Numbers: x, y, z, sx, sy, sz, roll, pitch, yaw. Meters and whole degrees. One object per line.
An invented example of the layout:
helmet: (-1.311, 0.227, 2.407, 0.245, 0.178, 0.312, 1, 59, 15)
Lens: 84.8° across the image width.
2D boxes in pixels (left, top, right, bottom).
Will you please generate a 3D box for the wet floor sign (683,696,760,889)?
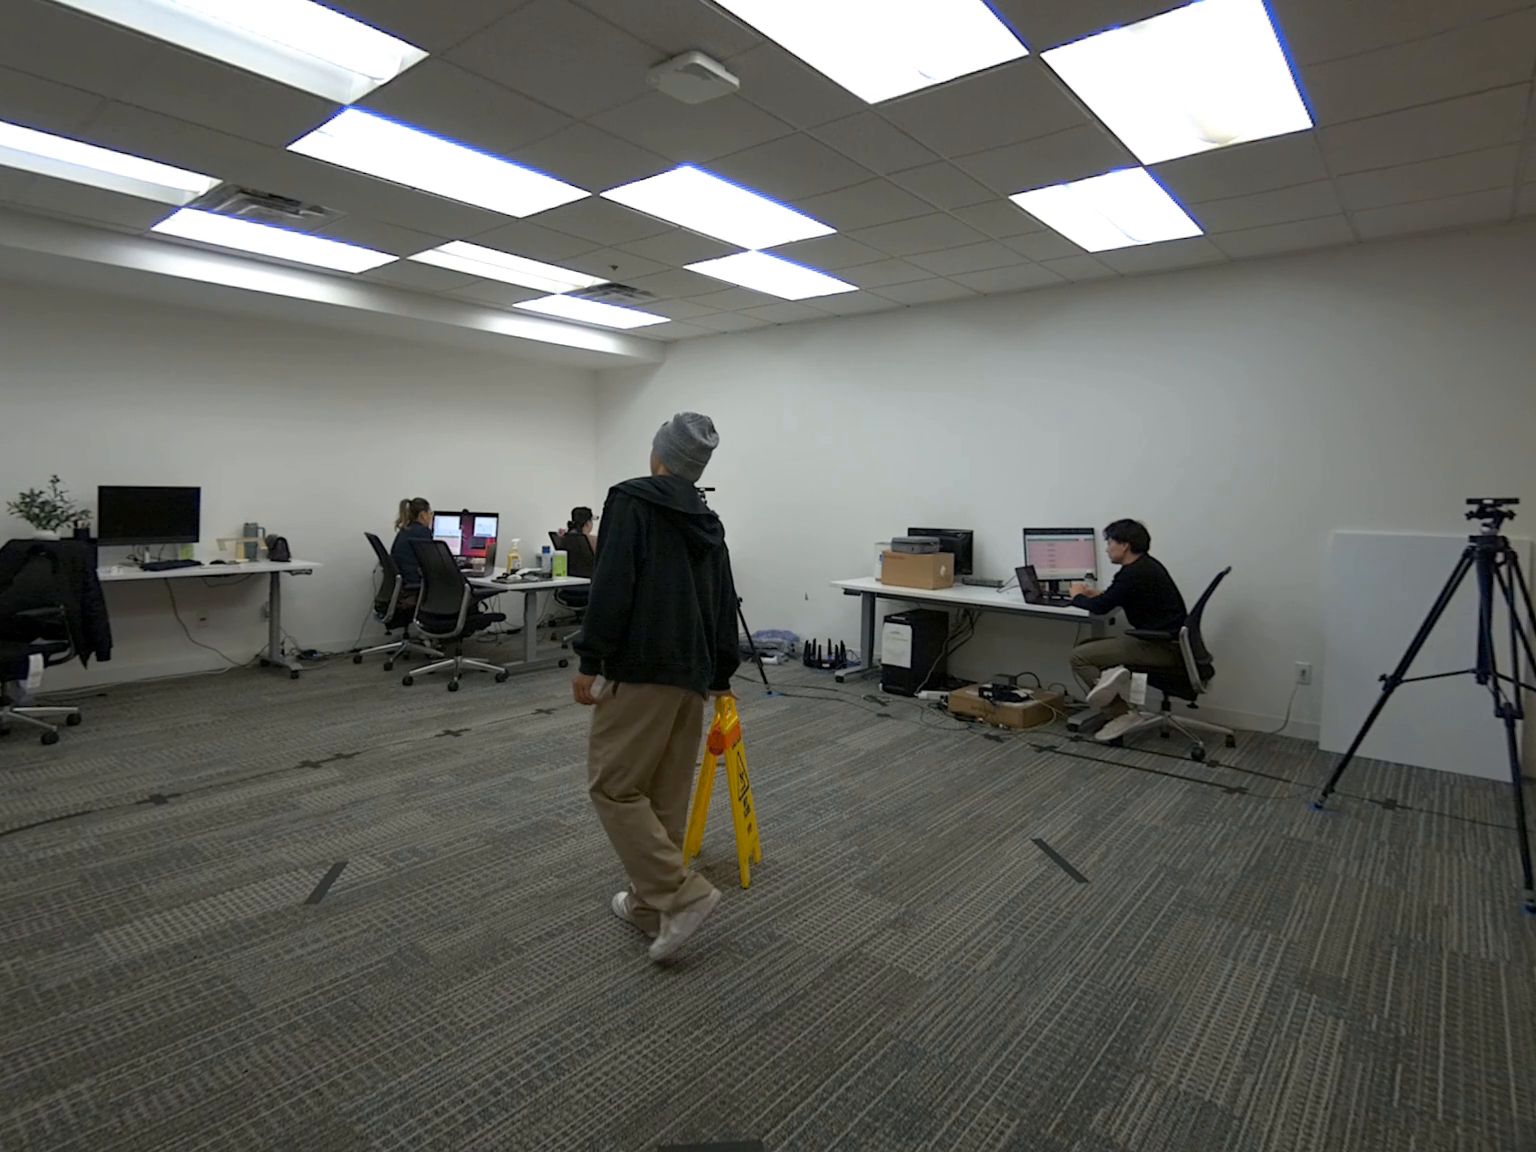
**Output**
wet floor sign: (-0.172, 0.743, 3.095, 0.293, 0.644, 0.280, 3, 4, 10)
